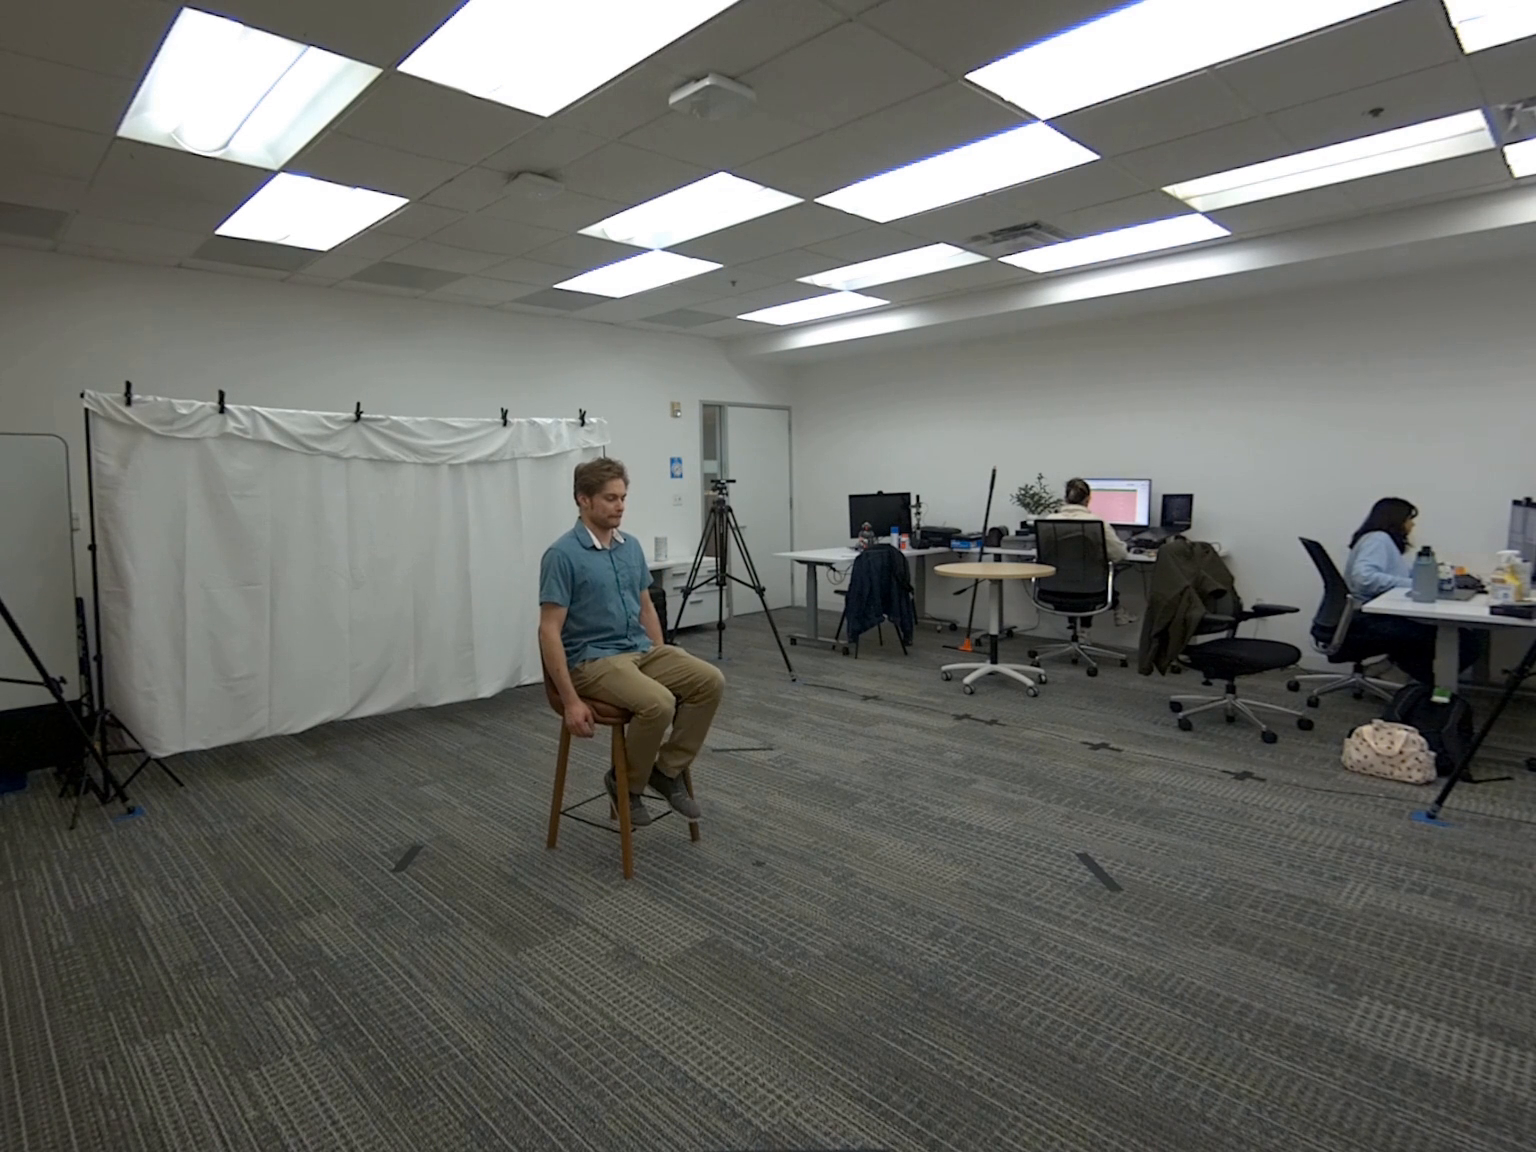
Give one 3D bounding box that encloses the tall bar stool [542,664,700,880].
[{"bbox_3d":[-0.575,0.604,3.282,0.480,0.888,0.445,-1,3,36],"label":"tall bar stool"}]
